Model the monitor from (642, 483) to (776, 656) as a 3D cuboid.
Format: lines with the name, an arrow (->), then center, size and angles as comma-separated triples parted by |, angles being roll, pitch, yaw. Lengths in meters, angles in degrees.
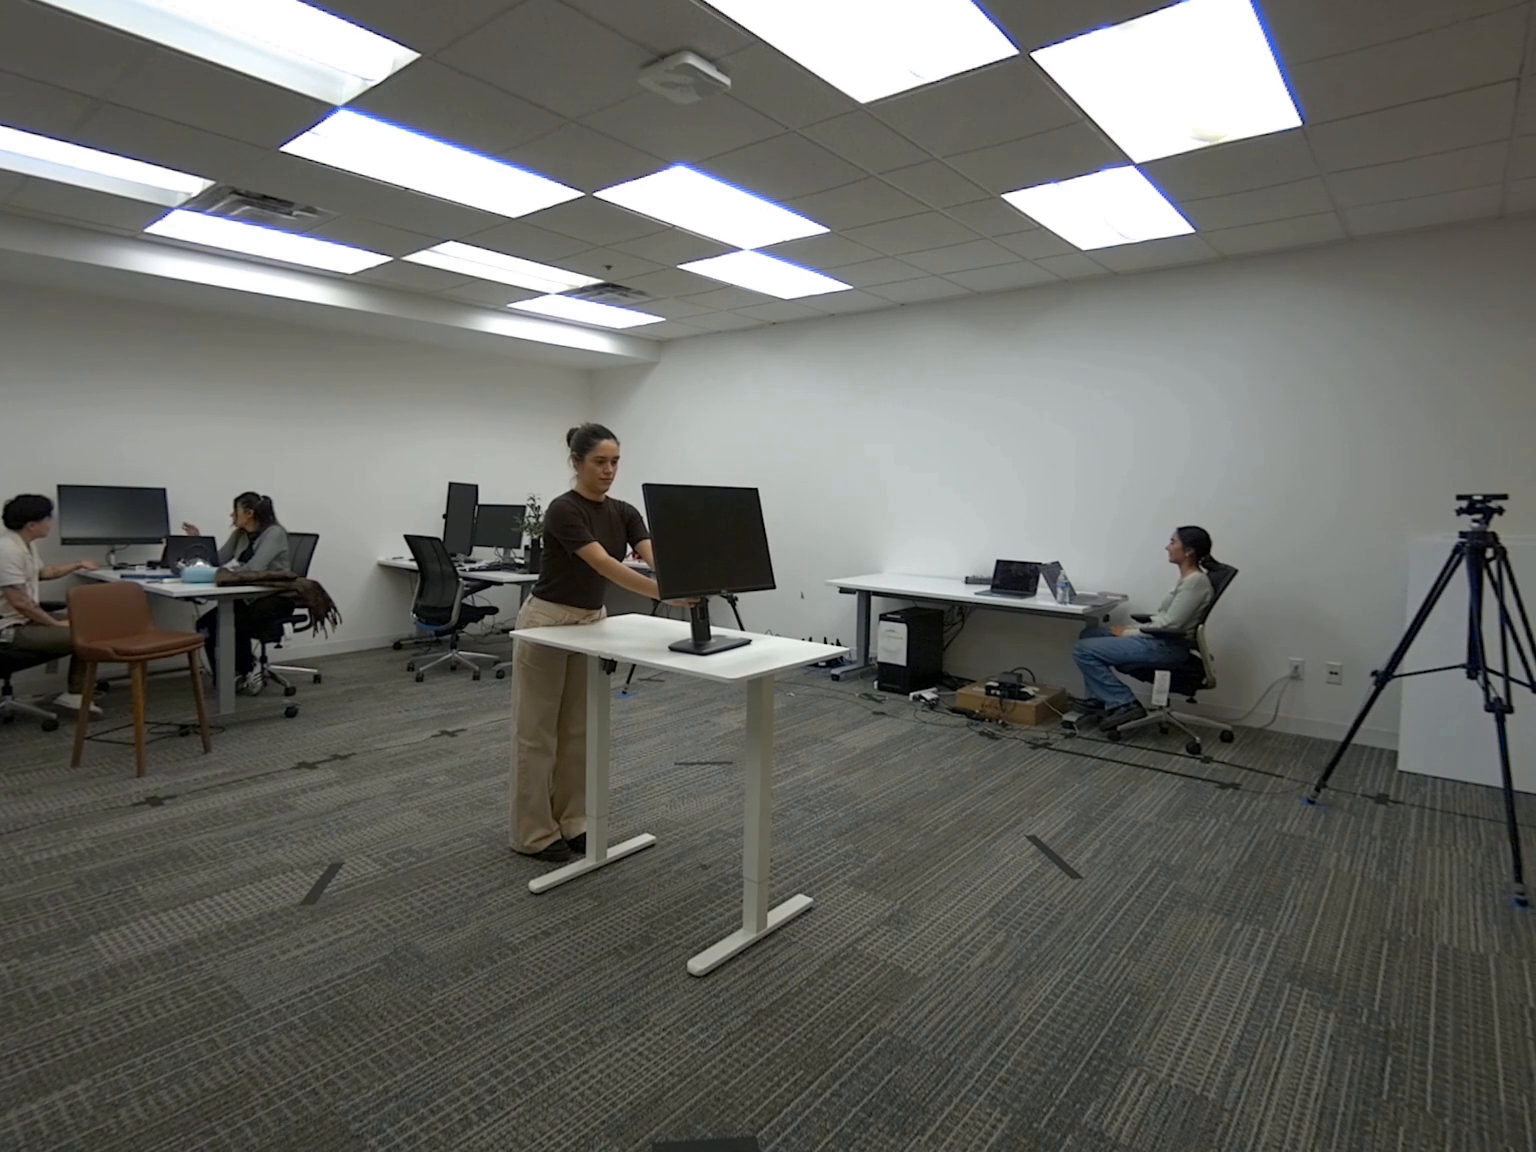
monitor -> -0.206, -0.028, 2.712 | 0.193, 0.522, 0.523 | 0, 2, 37
